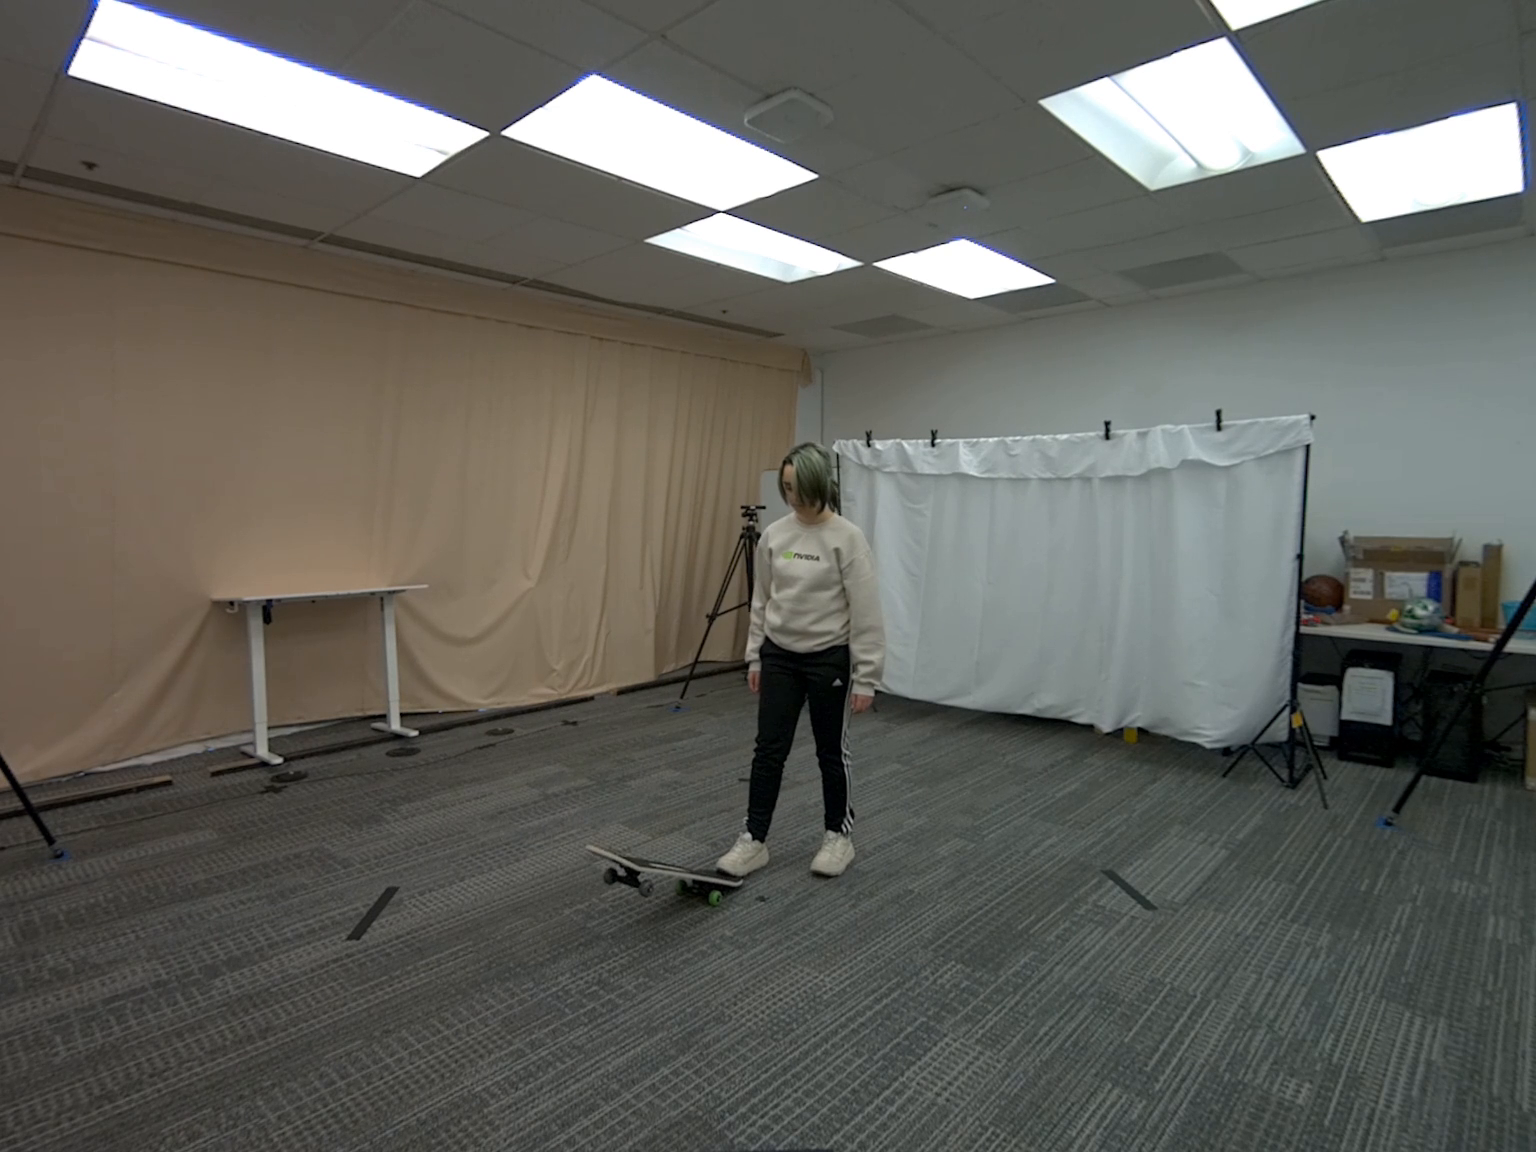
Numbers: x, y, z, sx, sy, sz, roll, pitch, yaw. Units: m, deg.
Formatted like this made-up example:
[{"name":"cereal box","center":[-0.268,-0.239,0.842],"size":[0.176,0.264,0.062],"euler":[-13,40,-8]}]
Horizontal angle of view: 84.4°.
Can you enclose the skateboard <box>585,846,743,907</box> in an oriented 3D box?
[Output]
[{"name":"skateboard","center":[-0.335,1.021,2.853],"size":[0.199,0.111,0.757],"euler":[3,-22,35]}]
